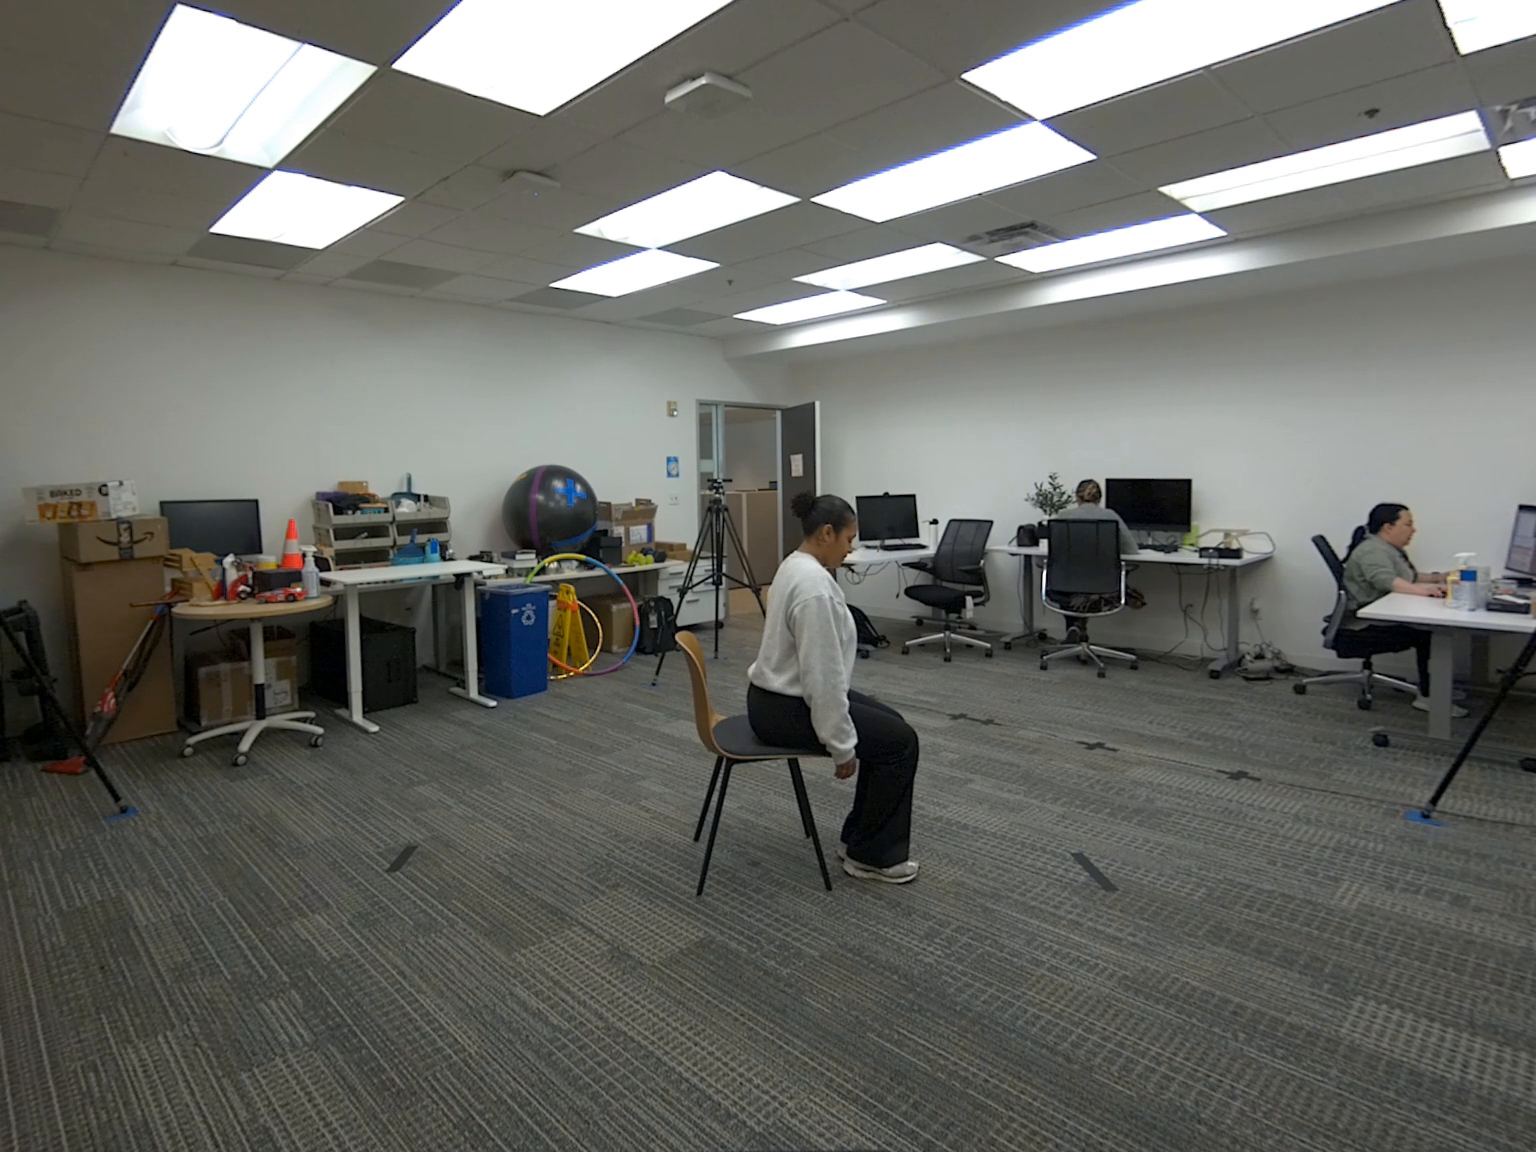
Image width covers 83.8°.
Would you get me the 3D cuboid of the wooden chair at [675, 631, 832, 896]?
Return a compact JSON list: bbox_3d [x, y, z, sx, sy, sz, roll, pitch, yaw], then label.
[{"bbox_3d":[-0.033,0.620,3.070,0.521,0.874,0.482,-5,4,-5],"label":"wooden chair"}]
